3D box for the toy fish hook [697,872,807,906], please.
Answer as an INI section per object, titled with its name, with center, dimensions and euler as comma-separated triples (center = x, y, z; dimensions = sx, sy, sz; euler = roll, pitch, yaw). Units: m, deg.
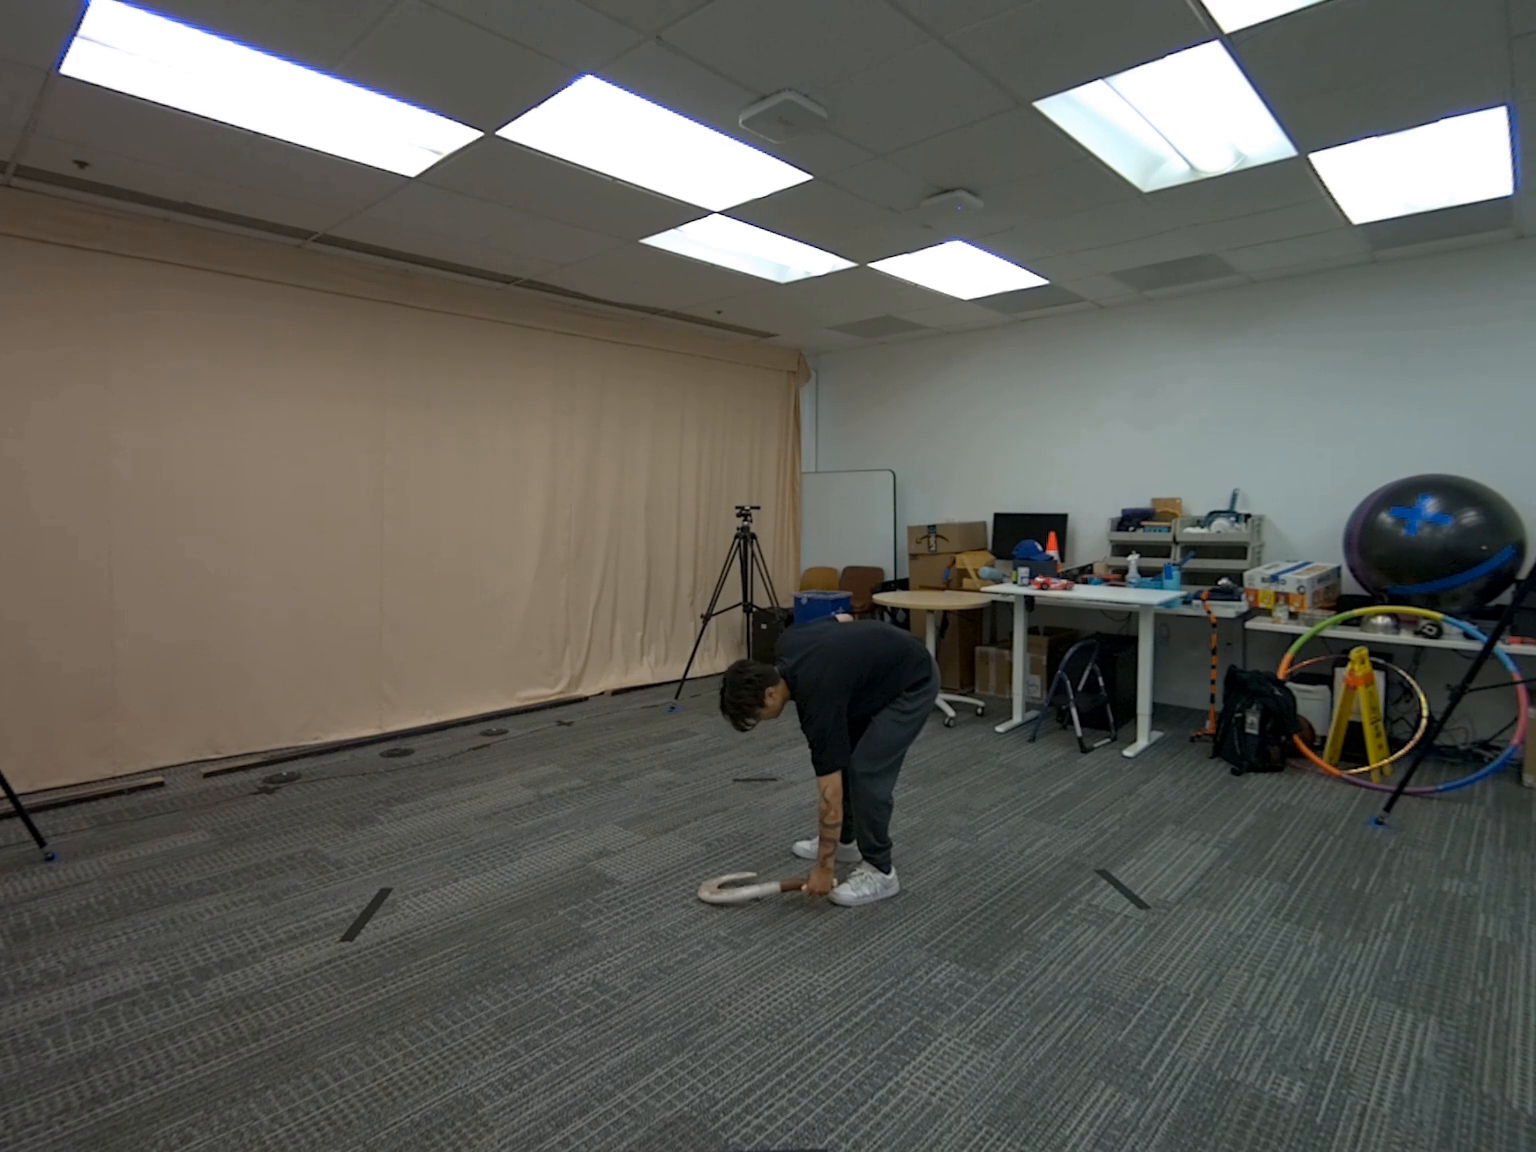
[toy fish hook]
center = 0.001, 1.088, 2.986
dimensions = 0.513, 0.048, 0.223
euler = -8, 6, 12
